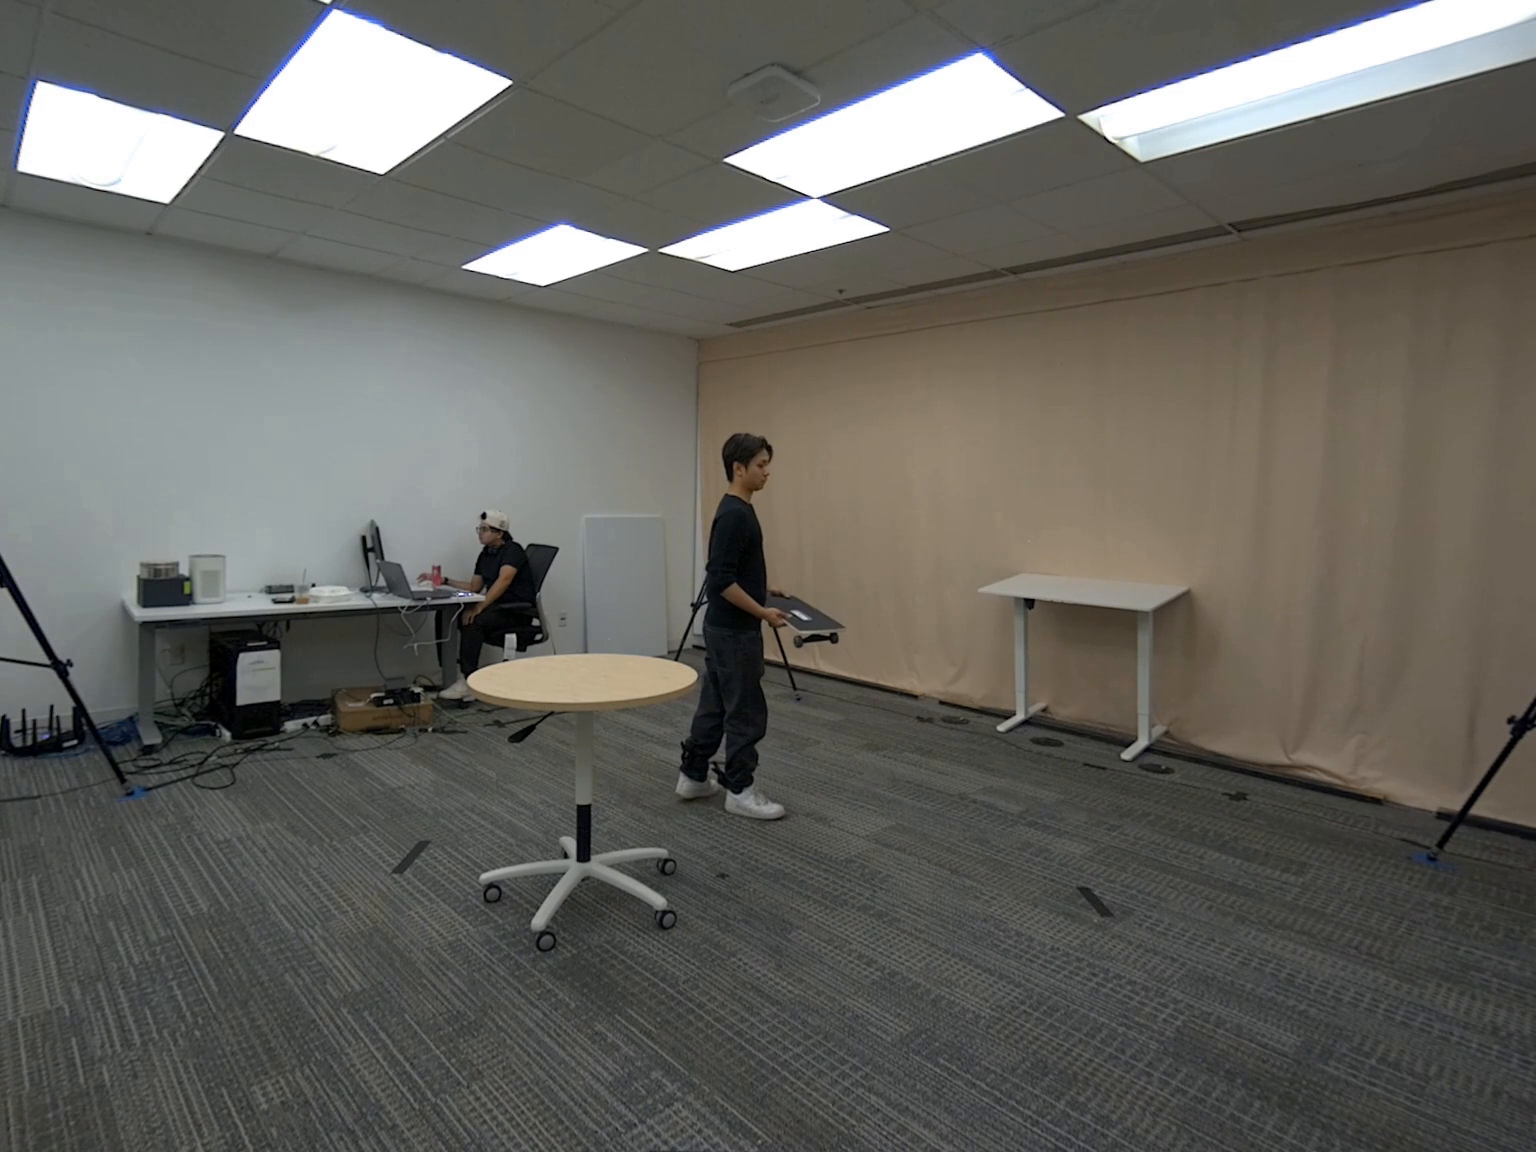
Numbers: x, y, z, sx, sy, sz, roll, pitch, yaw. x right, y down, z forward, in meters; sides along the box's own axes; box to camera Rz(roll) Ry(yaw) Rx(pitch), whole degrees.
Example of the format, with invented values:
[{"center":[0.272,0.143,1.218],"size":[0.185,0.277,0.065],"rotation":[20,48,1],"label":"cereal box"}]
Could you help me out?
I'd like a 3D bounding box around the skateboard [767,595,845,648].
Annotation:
[{"center":[0.129,0.200,3.658],"size":[0.192,0.109,0.797],"rotation":[-4,10,-12],"label":"skateboard"}]
